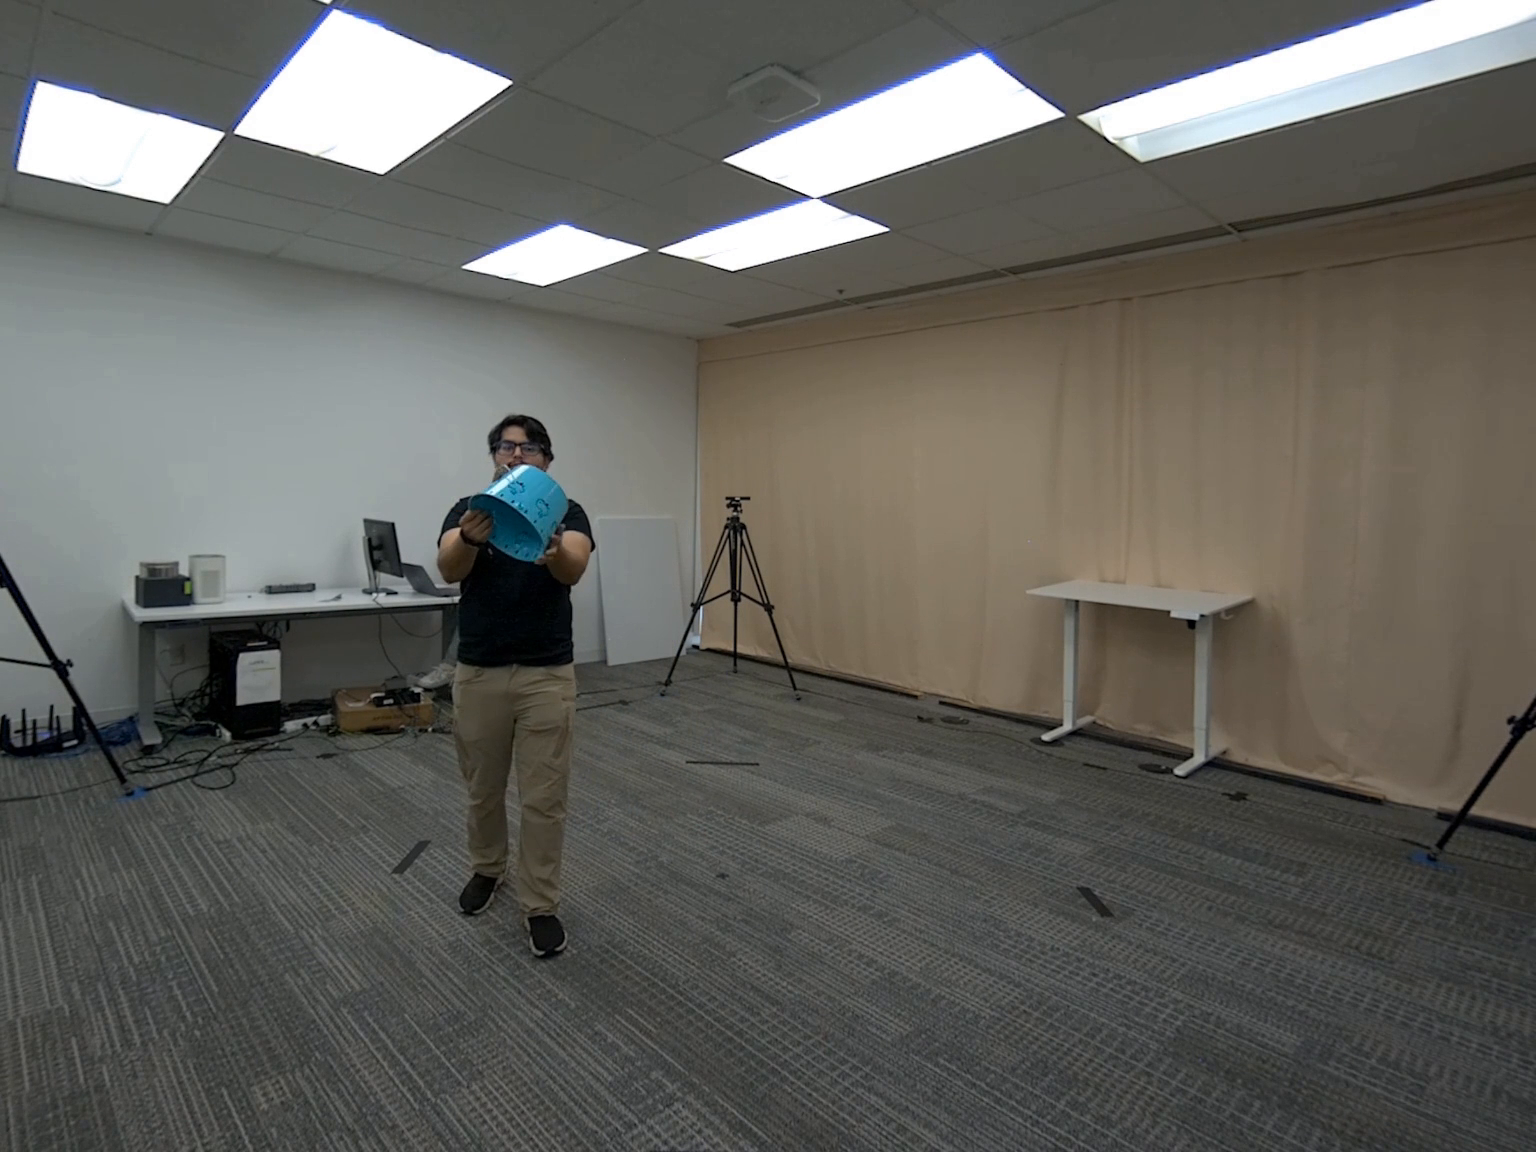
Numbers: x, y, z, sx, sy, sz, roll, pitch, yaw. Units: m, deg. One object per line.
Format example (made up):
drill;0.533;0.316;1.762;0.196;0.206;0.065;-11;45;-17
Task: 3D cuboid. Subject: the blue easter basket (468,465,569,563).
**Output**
blue easter basket;-0.650;-0.175;2.201;0.249;0.237;0.156;4;43;32
